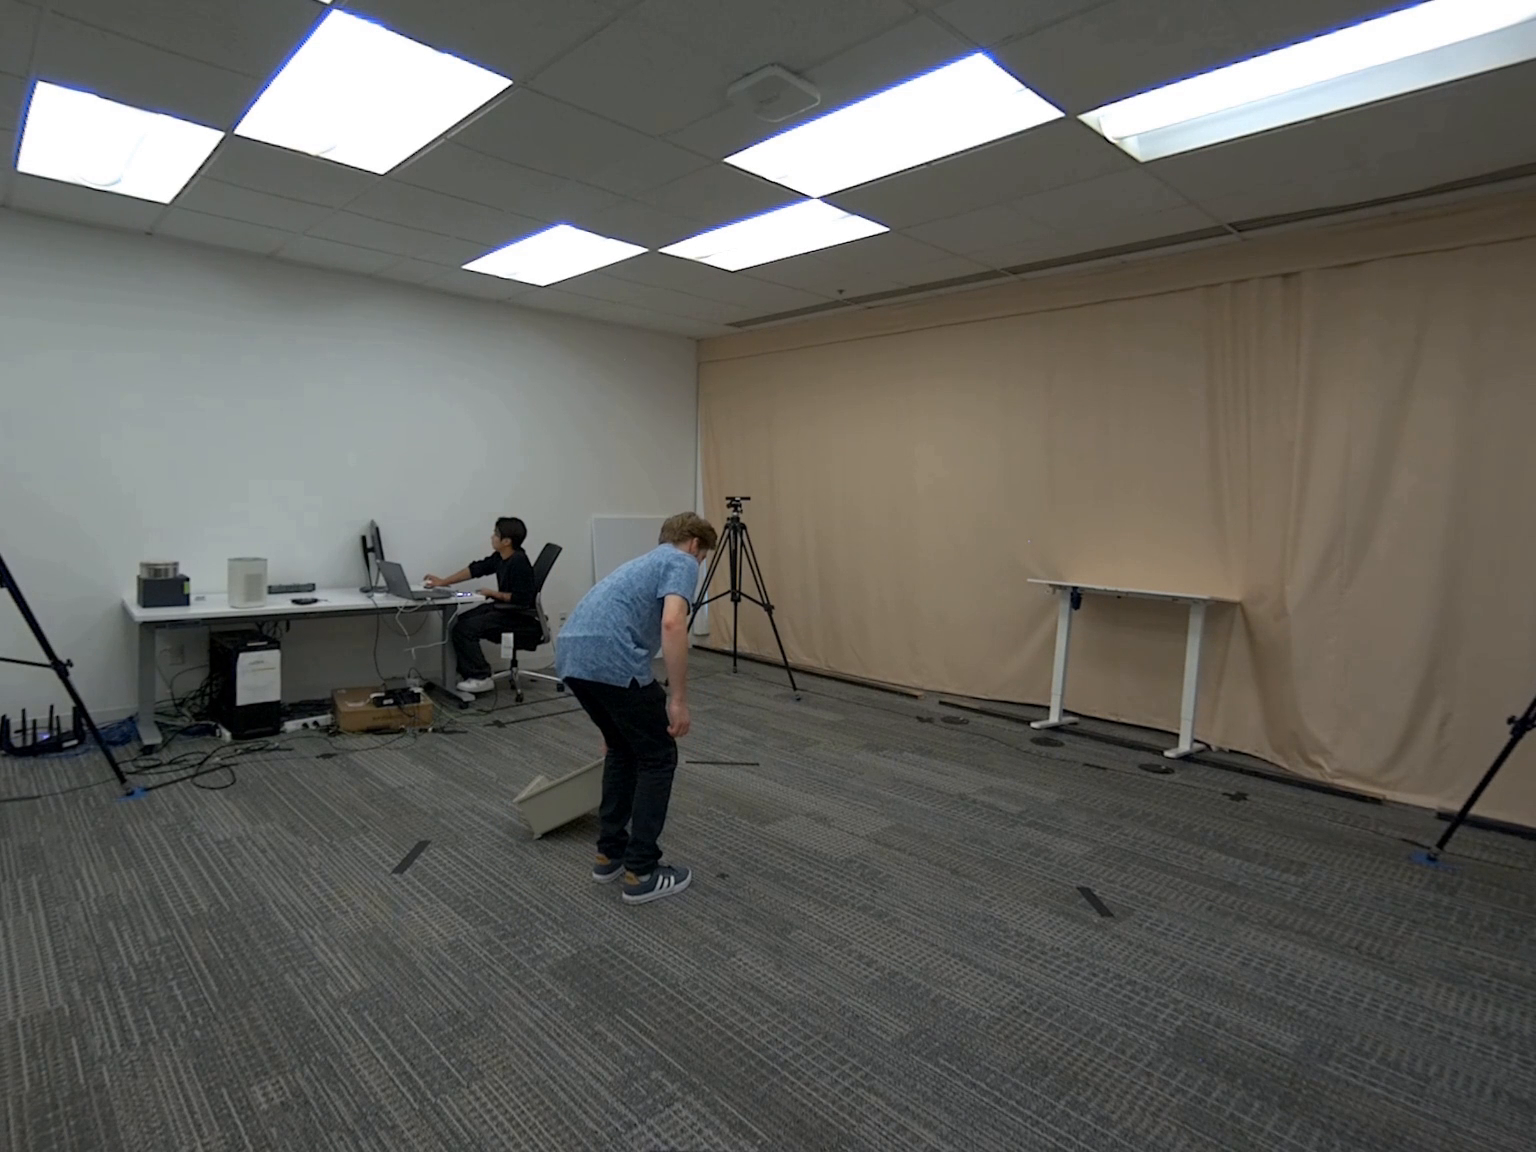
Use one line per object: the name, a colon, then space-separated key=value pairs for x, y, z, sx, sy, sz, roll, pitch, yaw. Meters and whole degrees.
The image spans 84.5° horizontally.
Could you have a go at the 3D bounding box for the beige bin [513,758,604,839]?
beige bin: x=-0.788 y=0.869 z=3.526 sx=0.424 sy=0.188 sz=0.377 roll=-25 pitch=4 yaw=10
